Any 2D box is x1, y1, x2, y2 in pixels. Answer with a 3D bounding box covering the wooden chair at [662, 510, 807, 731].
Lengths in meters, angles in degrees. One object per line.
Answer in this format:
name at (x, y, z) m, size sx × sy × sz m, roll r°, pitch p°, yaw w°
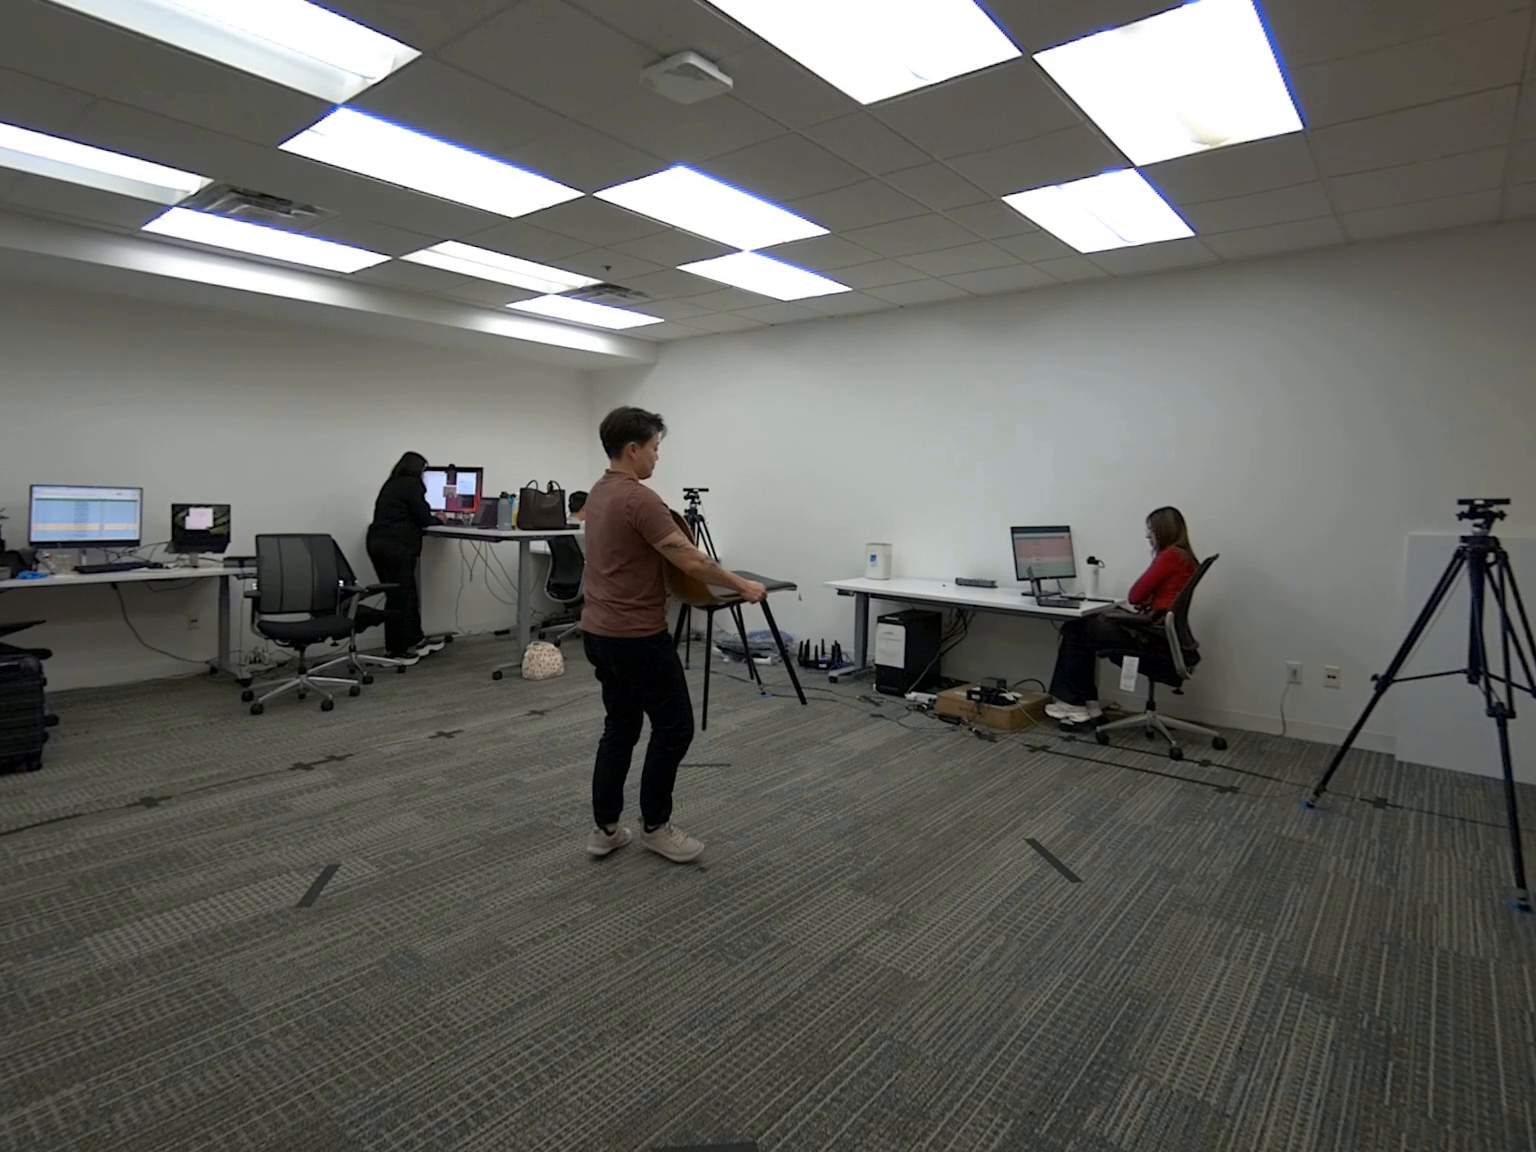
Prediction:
wooden chair at (-0.183, 0.102, 3.400) m, size 0.513 × 0.869 × 0.492 m, roll -12°, pitch 10°, yaw -26°
